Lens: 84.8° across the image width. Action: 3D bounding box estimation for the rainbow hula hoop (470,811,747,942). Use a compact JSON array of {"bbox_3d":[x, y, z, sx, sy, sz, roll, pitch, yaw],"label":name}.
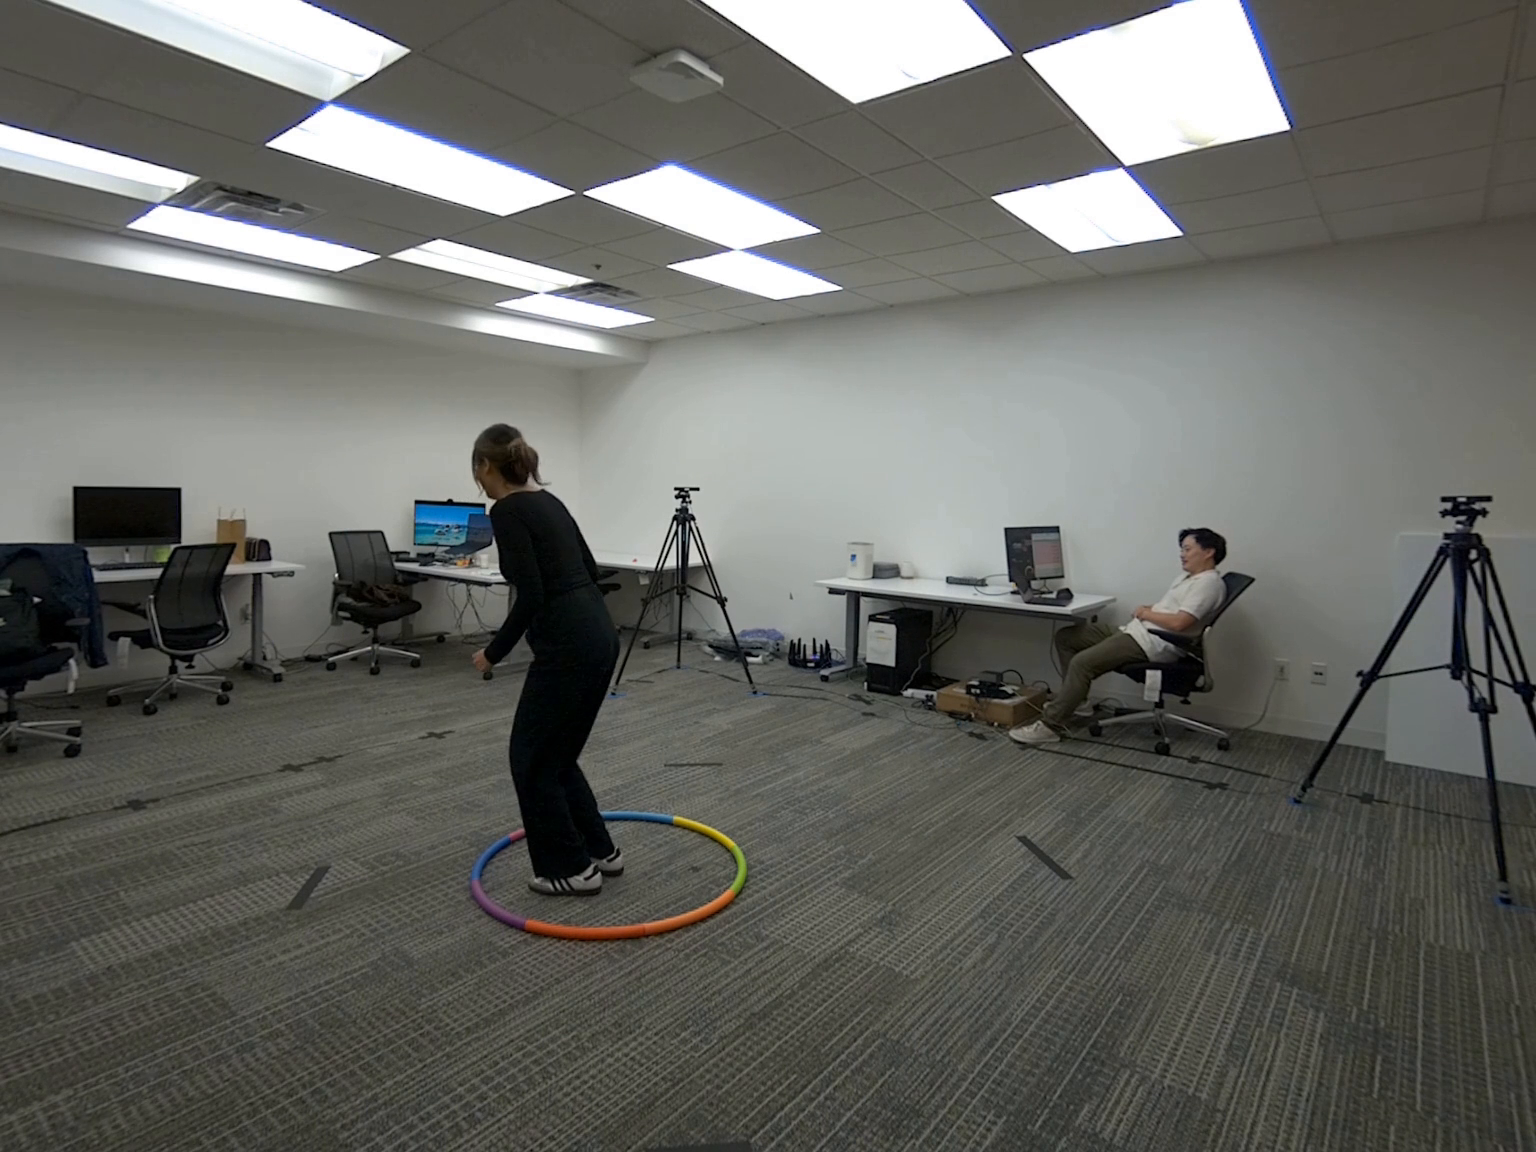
[{"bbox_3d":[-0.574,1.037,3.081,0.978,0.035,0.984,1,5,-2],"label":"rainbow hula hoop"}]
